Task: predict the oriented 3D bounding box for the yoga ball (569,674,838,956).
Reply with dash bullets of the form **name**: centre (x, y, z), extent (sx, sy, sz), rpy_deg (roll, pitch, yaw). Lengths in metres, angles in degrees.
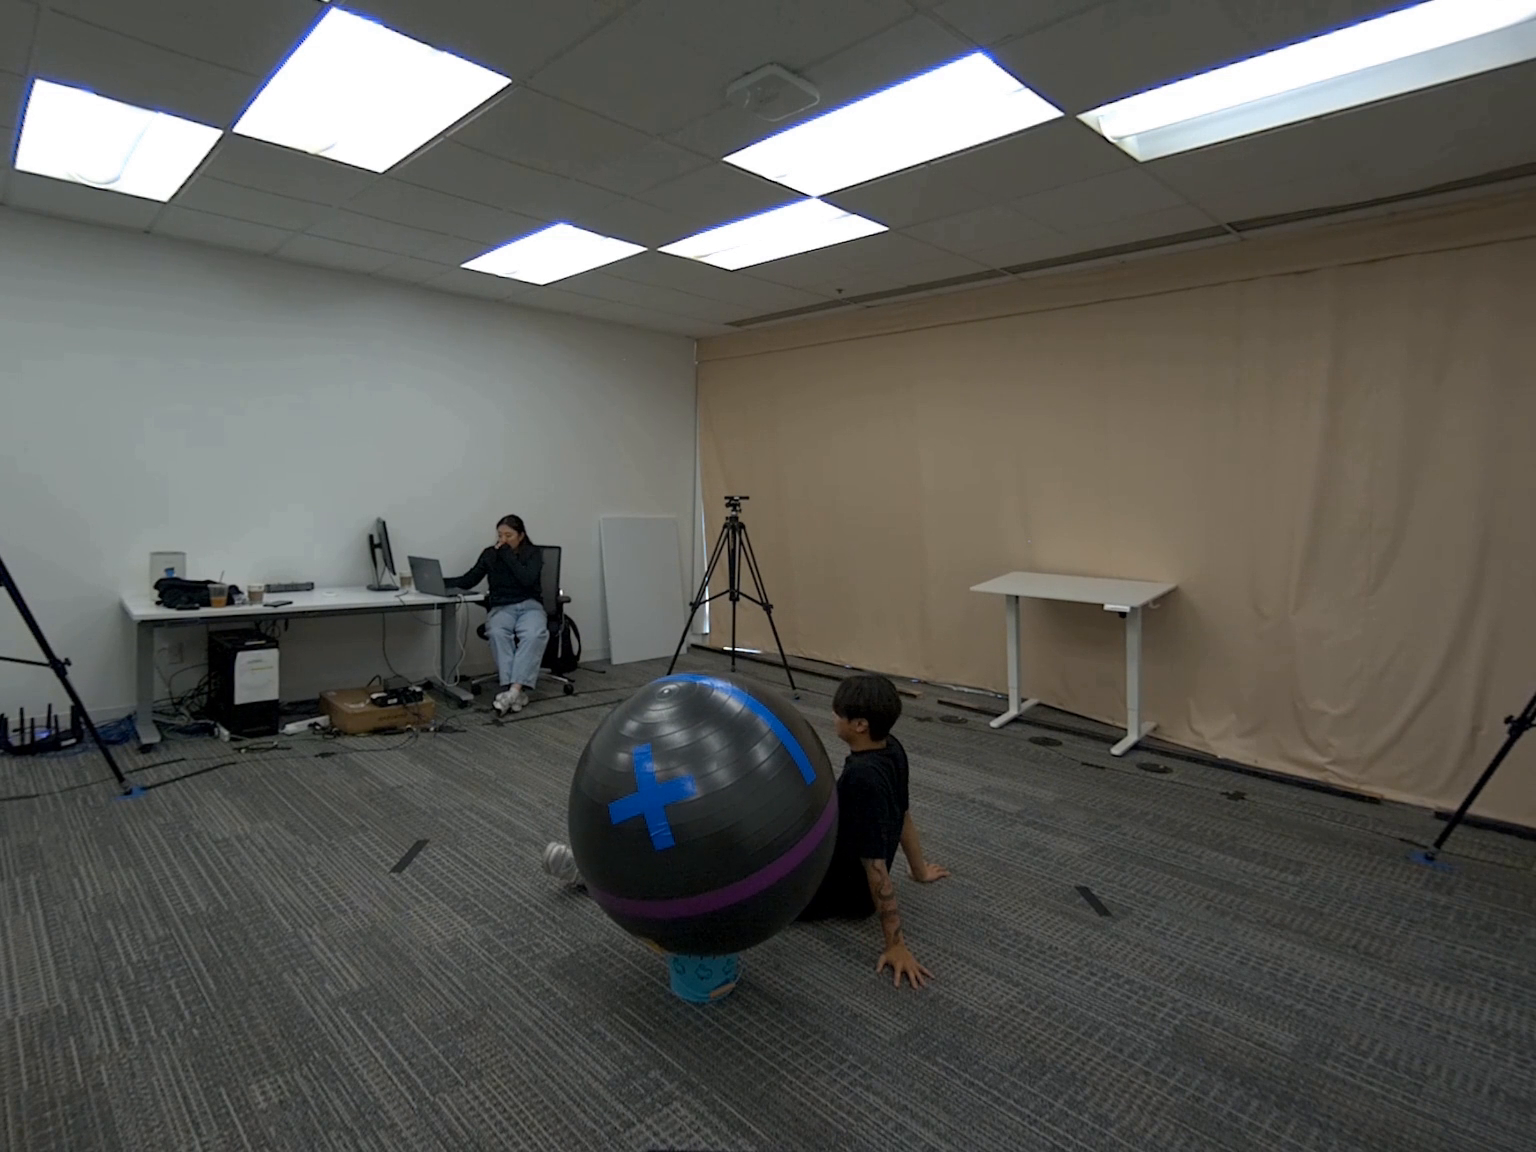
- **yoga ball**: centre (-0.180, 0.673, 2.362), extent (0.757, 0.756, 0.761), rpy_deg (1, 4, -1)
